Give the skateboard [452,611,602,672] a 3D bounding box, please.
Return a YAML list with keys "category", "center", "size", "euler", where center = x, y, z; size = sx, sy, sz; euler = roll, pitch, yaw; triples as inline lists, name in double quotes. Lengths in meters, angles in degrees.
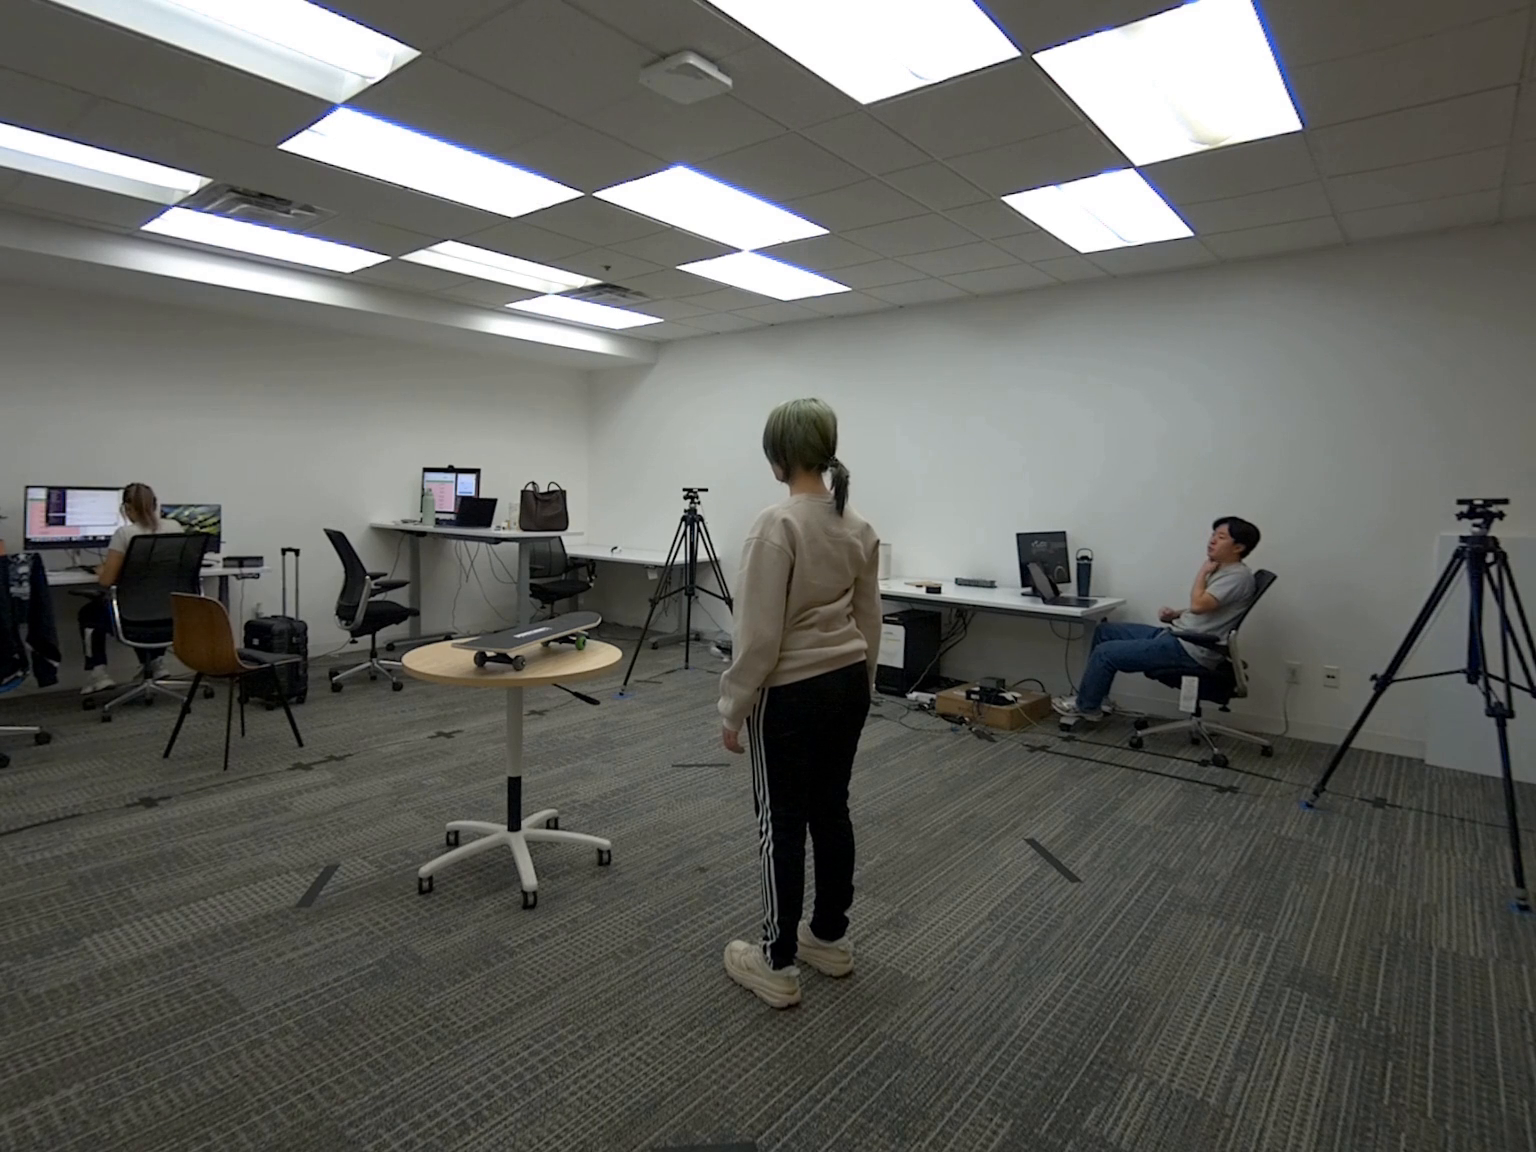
- category: "skateboard"
  center: [-0.853, 0.239, 3.010]
  size: [0.197, 0.110, 0.772]
  euler: [1, 6, 19]
